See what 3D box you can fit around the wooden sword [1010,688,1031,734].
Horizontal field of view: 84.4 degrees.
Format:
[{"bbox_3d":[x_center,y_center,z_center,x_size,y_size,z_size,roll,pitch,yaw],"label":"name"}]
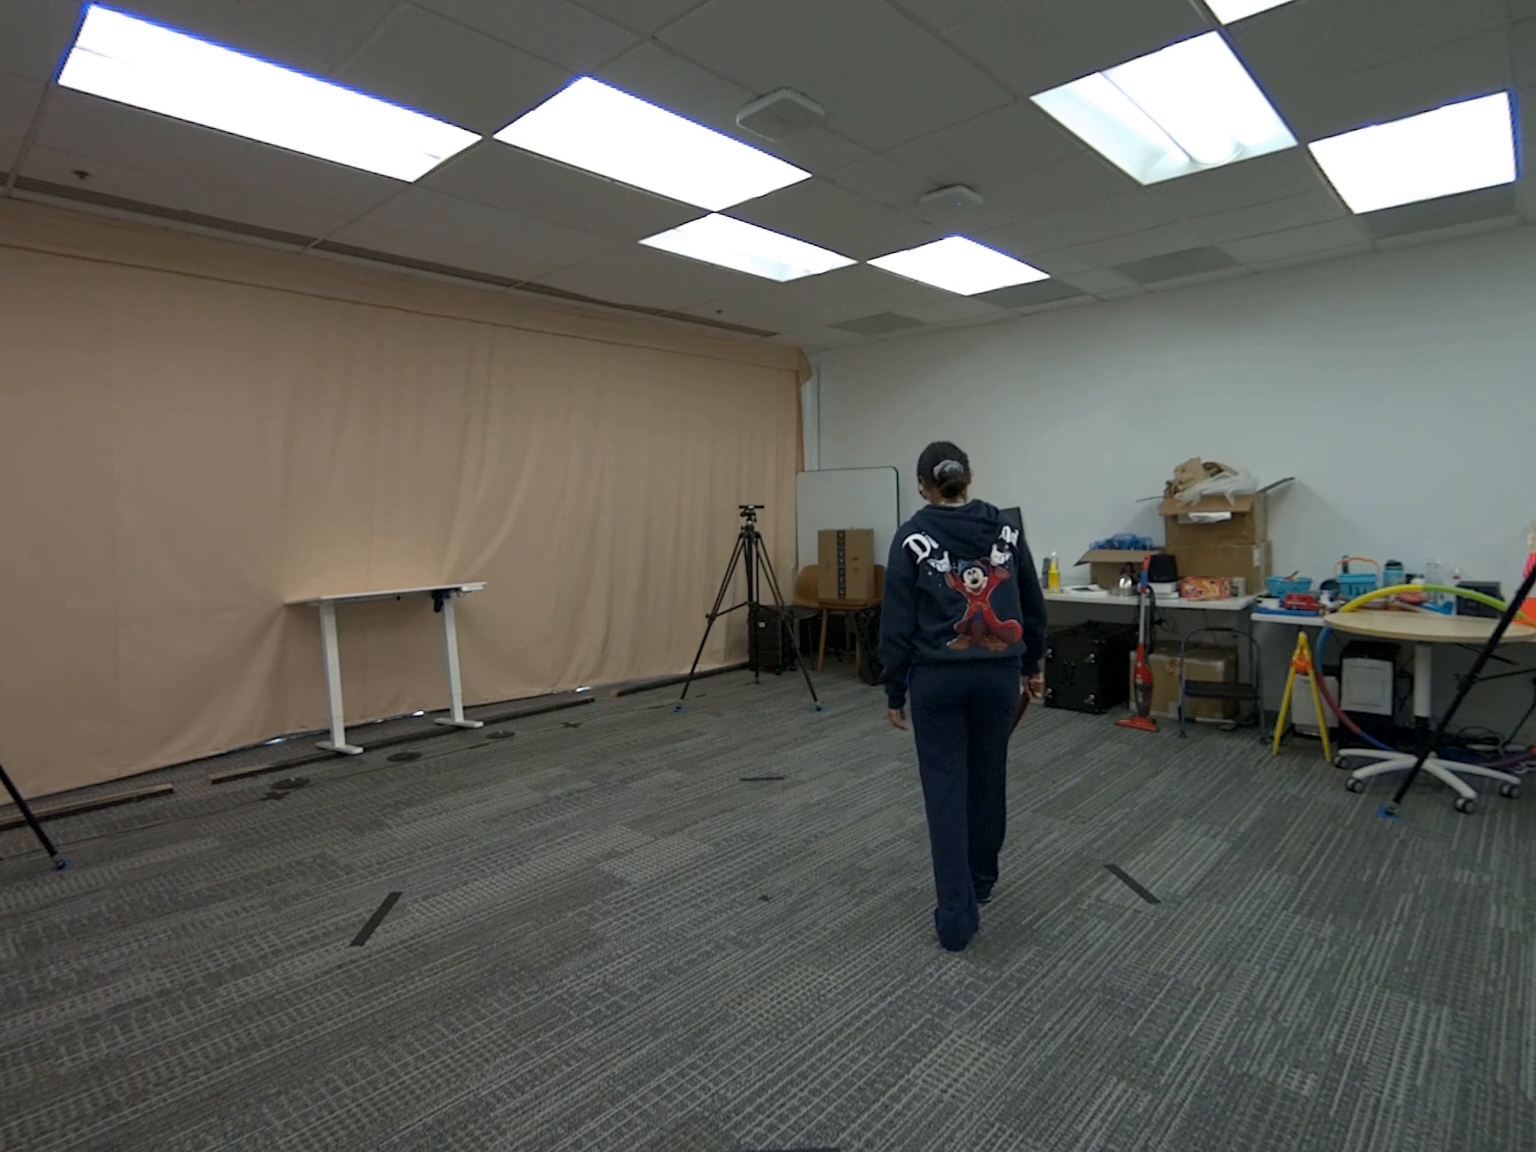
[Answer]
[{"bbox_3d":[0.879,0.727,3.270,0.051,1.015,0.024,14,45,-4],"label":"wooden sword"}]
